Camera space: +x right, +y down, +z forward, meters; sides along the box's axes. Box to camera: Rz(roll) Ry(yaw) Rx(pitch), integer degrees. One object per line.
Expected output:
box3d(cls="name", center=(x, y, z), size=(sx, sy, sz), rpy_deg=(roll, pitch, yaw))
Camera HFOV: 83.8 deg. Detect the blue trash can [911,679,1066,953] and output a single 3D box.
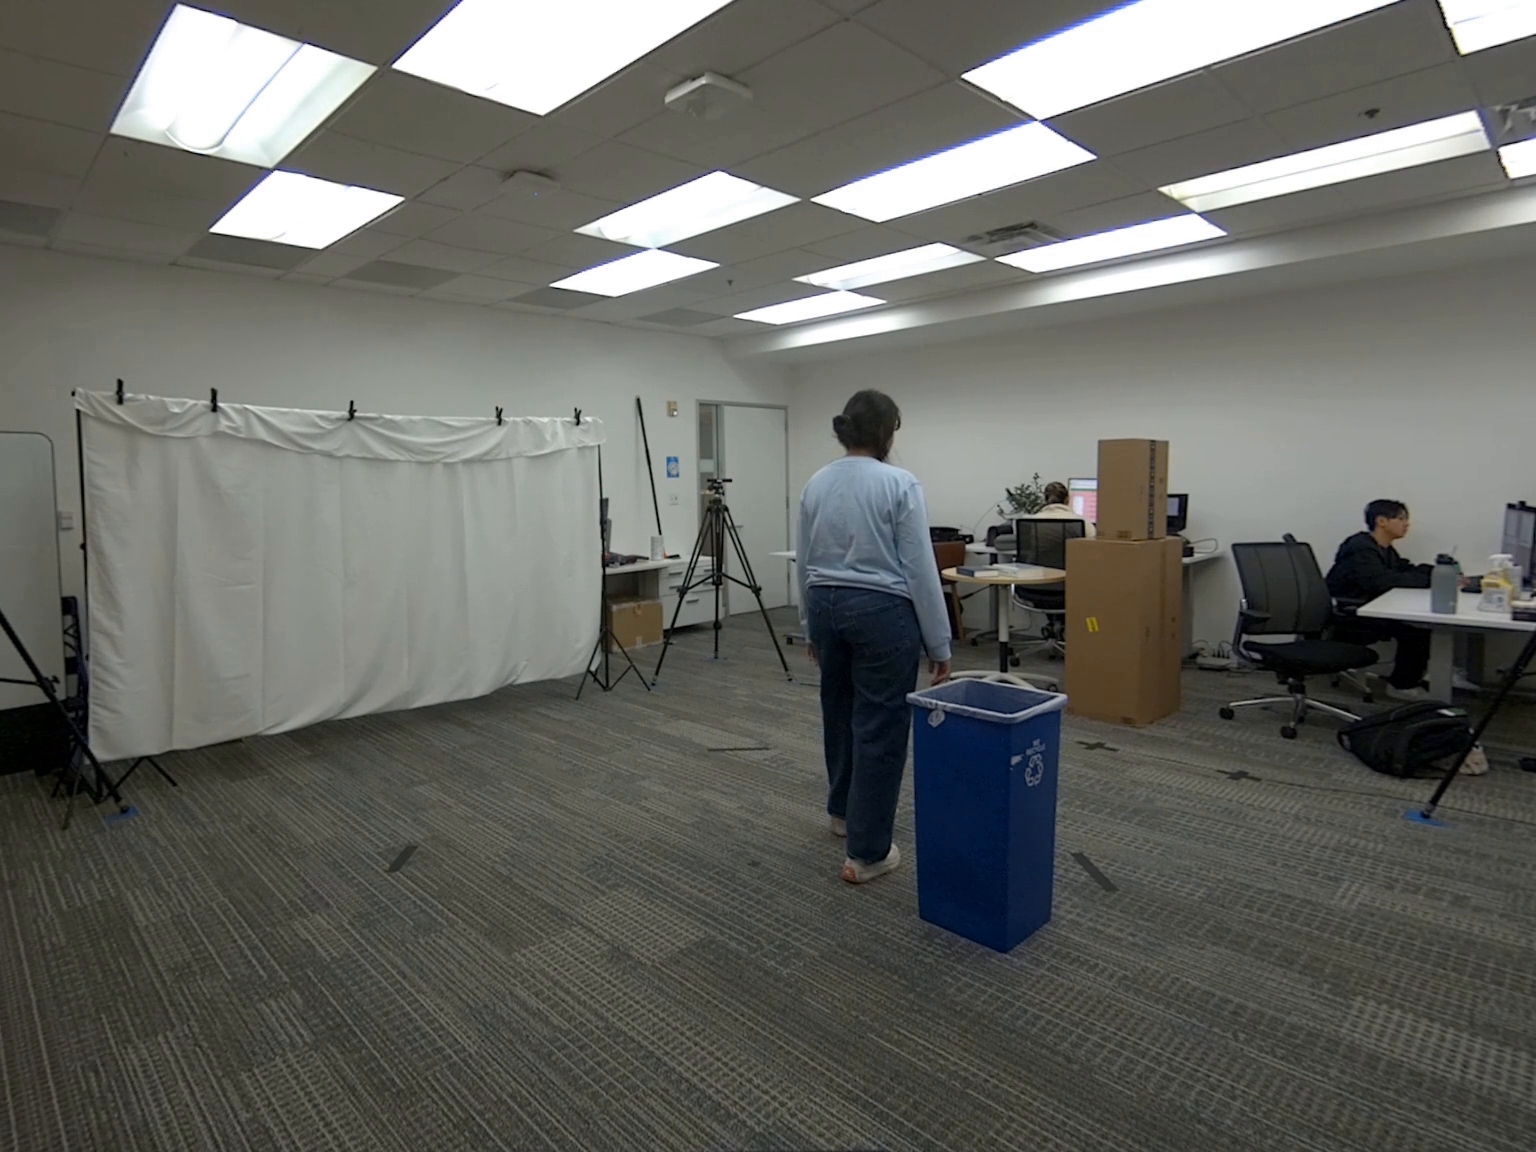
box3d(cls="blue trash can", center=(0.689, 0.725, 2.677), size=(0.364, 0.711, 0.390), rpy_deg=(-5, 6, -45))
